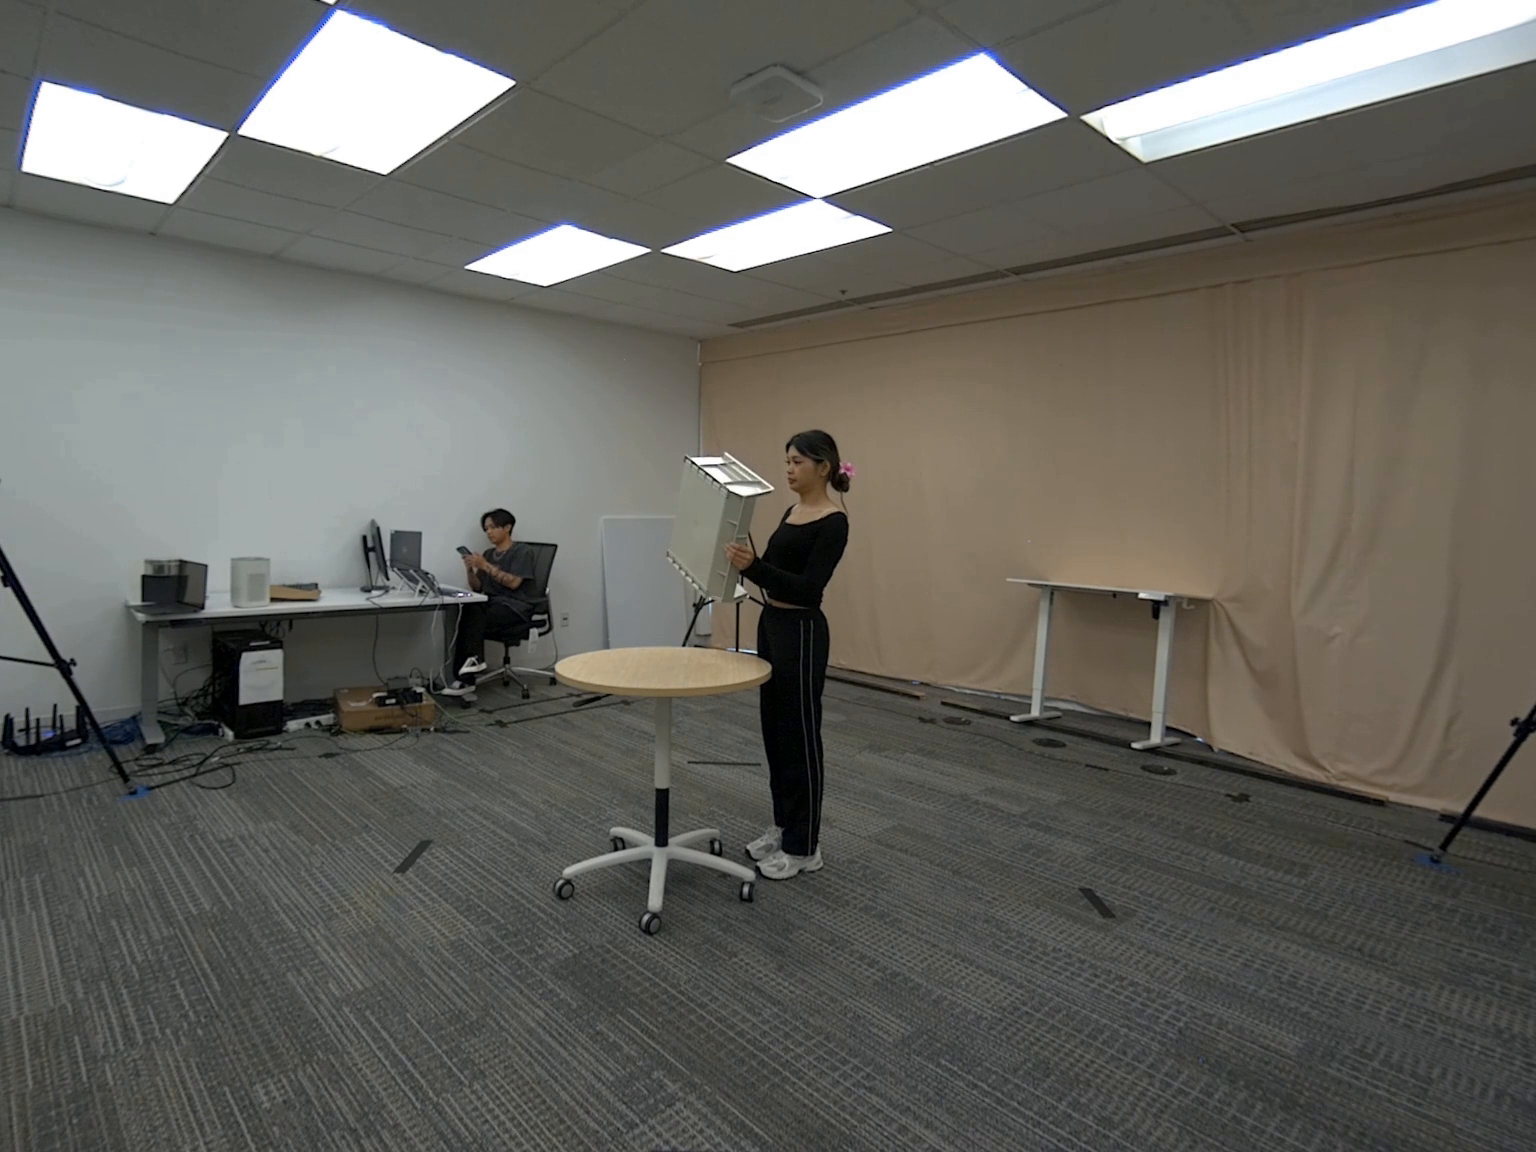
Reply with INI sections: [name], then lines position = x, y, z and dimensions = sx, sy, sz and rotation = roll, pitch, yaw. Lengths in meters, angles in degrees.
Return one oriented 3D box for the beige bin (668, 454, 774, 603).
[beige bin]
position = -0.175, -0.177, 2.984
dimensions = 0.185, 0.417, 0.390
rotation = -4, 30, -33
